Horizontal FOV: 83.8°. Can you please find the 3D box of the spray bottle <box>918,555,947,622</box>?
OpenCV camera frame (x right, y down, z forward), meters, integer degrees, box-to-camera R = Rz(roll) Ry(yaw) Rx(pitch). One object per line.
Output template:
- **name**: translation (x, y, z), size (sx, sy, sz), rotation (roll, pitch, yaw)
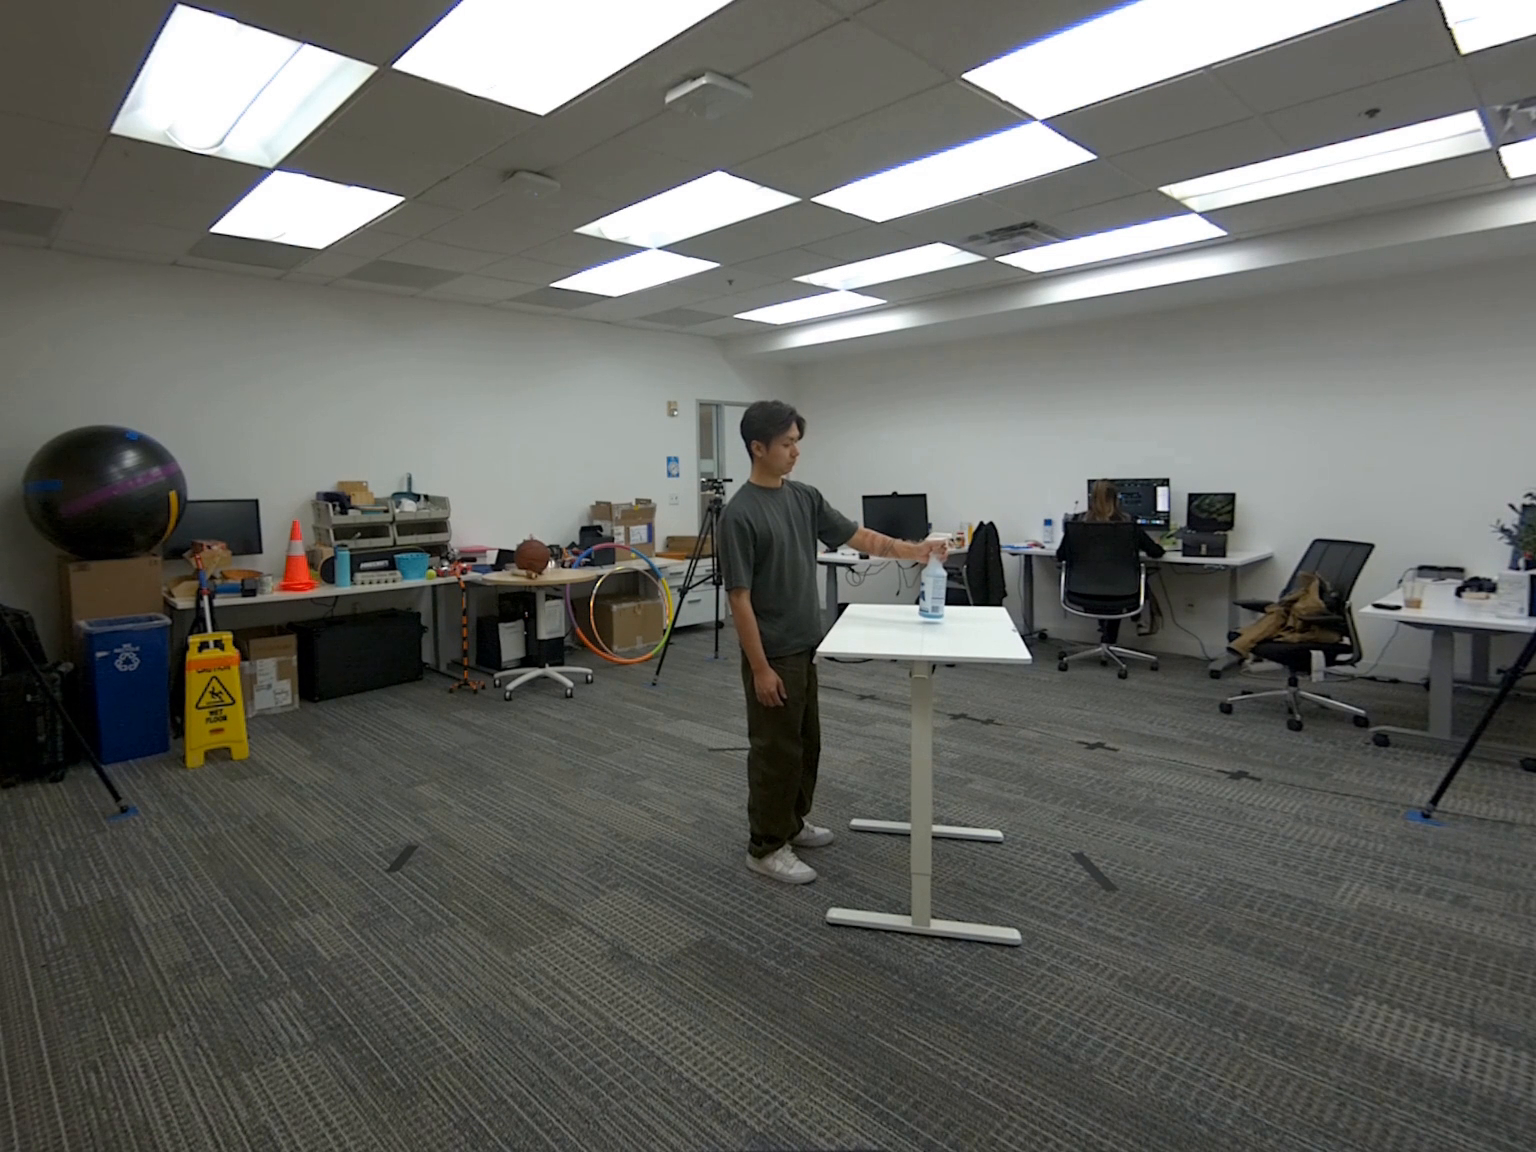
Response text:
- **spray bottle**: translation (0.580, 0.000, 2.981), size (0.085, 0.296, 0.093), rotation (0, 5, -33)
